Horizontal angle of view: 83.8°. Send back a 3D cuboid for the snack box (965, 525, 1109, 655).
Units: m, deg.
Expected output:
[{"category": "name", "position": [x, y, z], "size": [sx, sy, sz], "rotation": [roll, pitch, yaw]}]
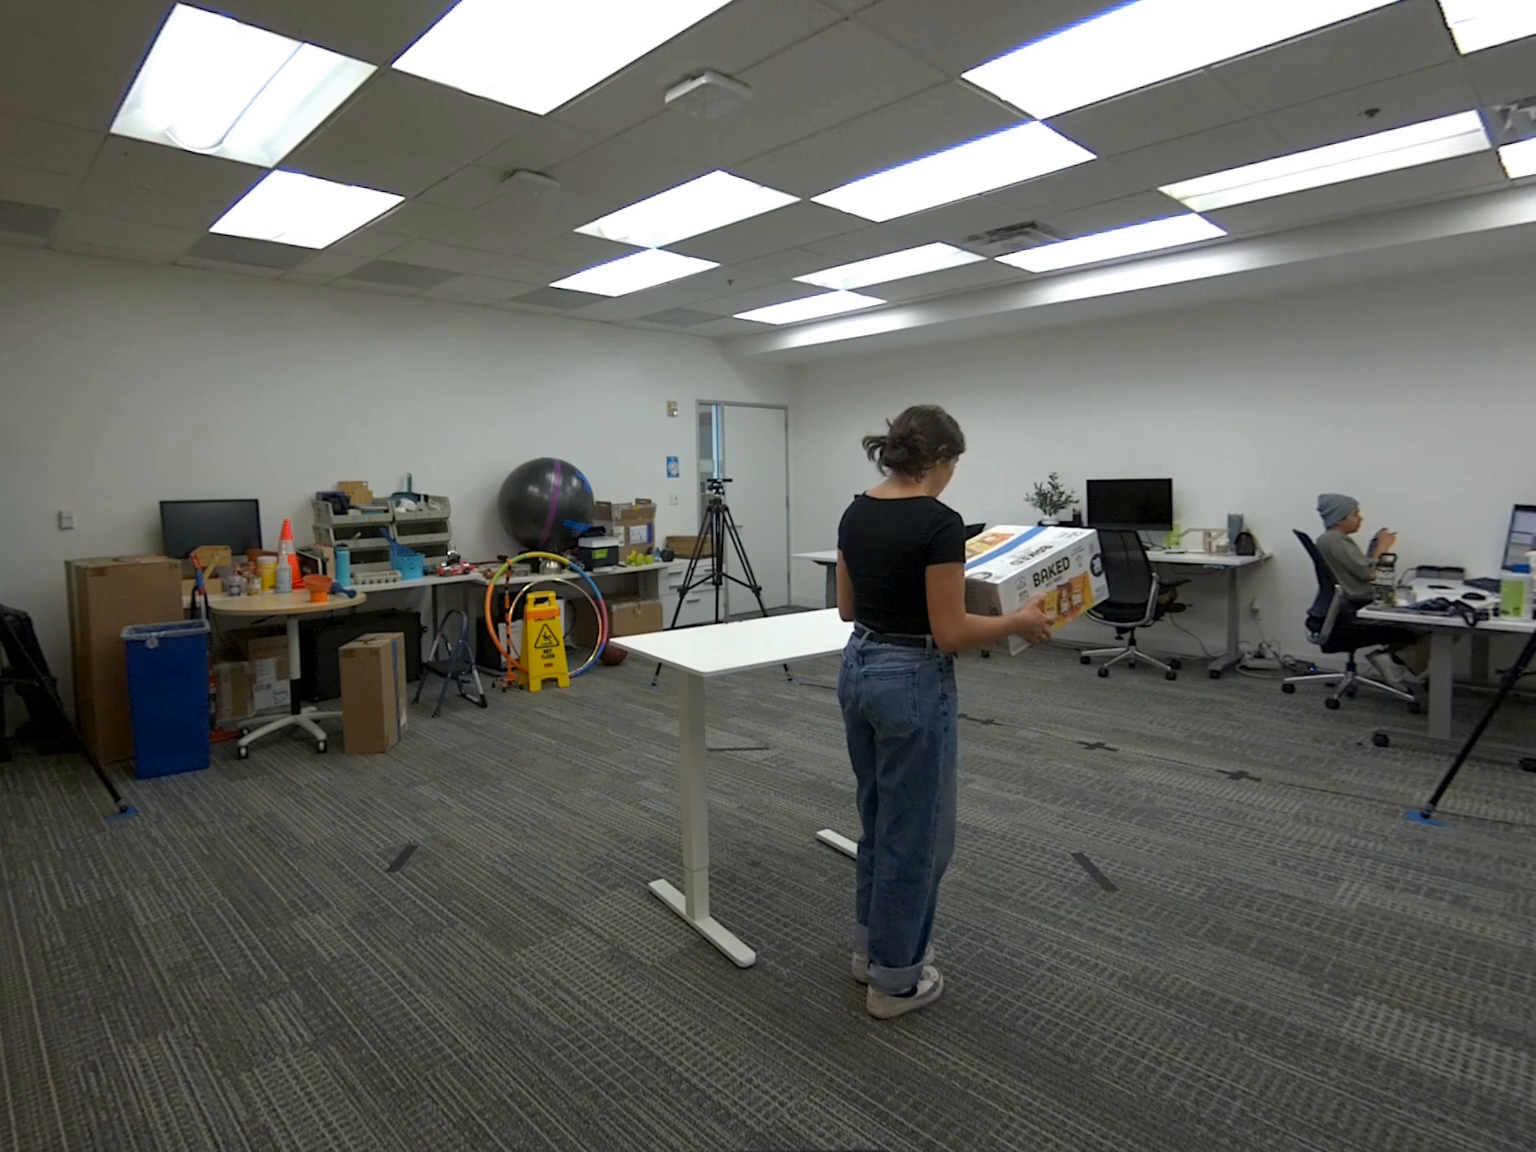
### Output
[{"category": "snack box", "position": [0.669, 0.024, 2.384], "size": [0.400, 0.202, 0.350], "rotation": [-24, 17, -28]}]
